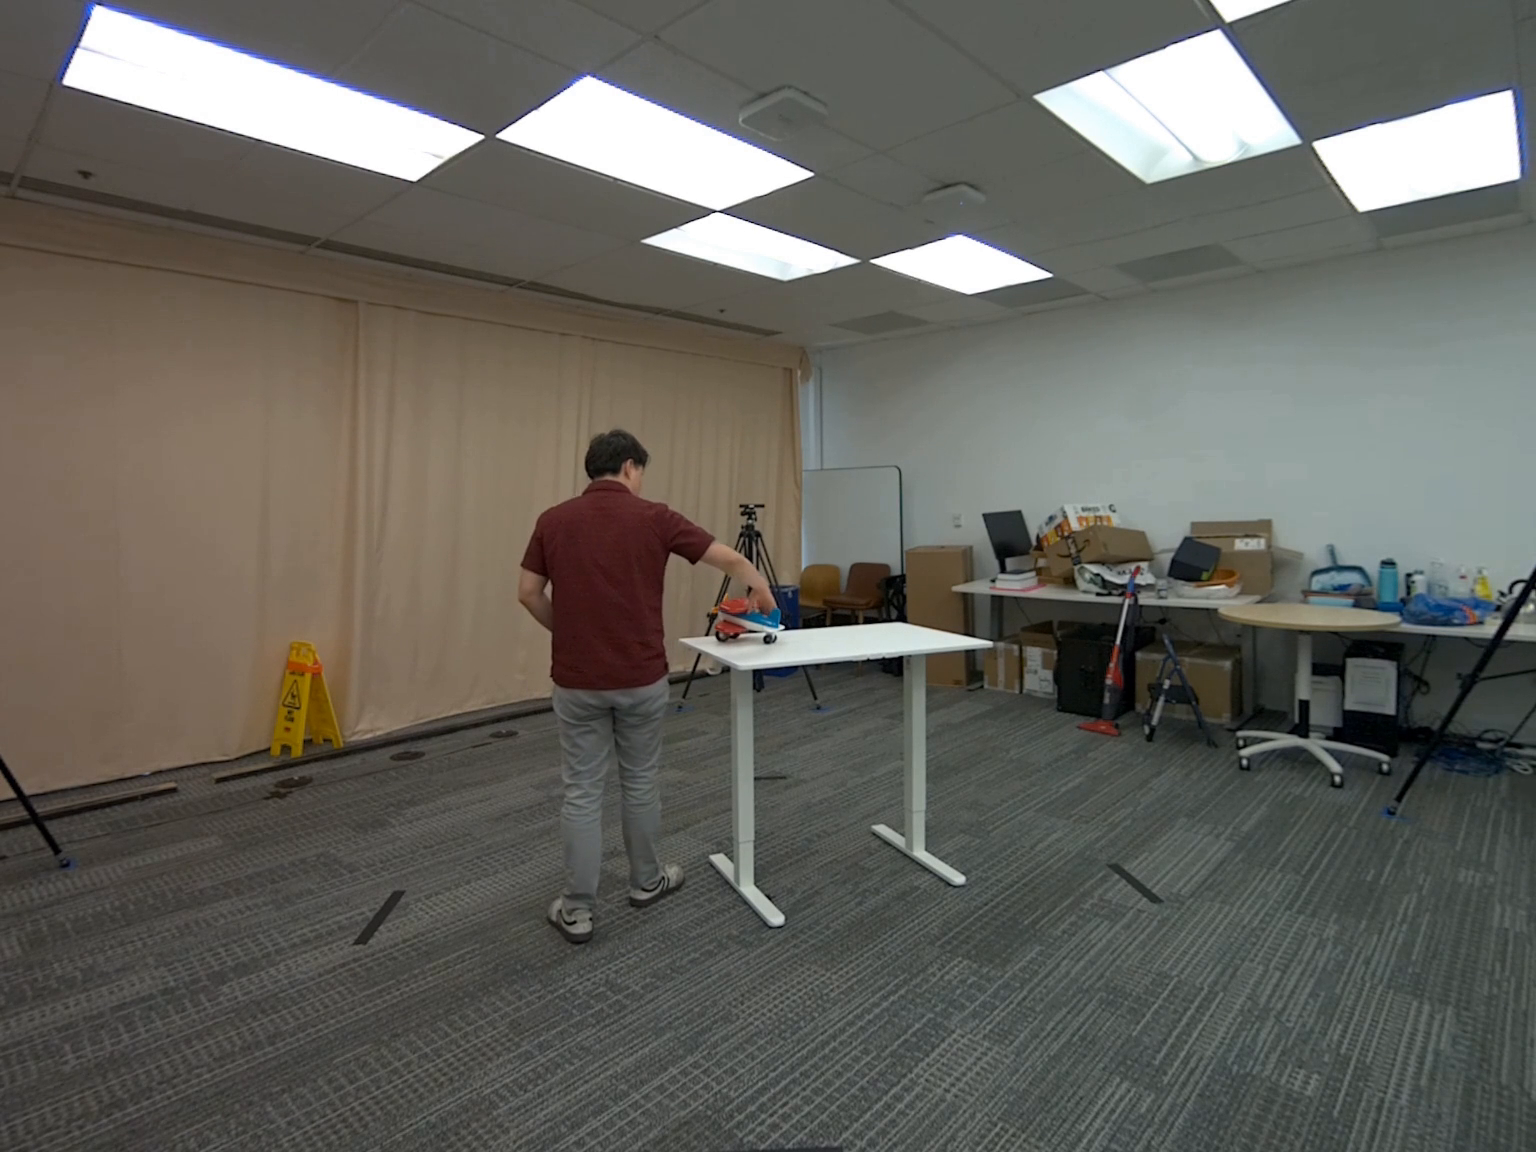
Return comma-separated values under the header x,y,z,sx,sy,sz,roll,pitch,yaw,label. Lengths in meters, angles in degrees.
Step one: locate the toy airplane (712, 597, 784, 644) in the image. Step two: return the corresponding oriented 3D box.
x,y,z,sx,sy,sz,roll,pitch,yaw,label
-0.069,0.167,3.151,0.259,0.156,0.251,-1,5,0,toy airplane
